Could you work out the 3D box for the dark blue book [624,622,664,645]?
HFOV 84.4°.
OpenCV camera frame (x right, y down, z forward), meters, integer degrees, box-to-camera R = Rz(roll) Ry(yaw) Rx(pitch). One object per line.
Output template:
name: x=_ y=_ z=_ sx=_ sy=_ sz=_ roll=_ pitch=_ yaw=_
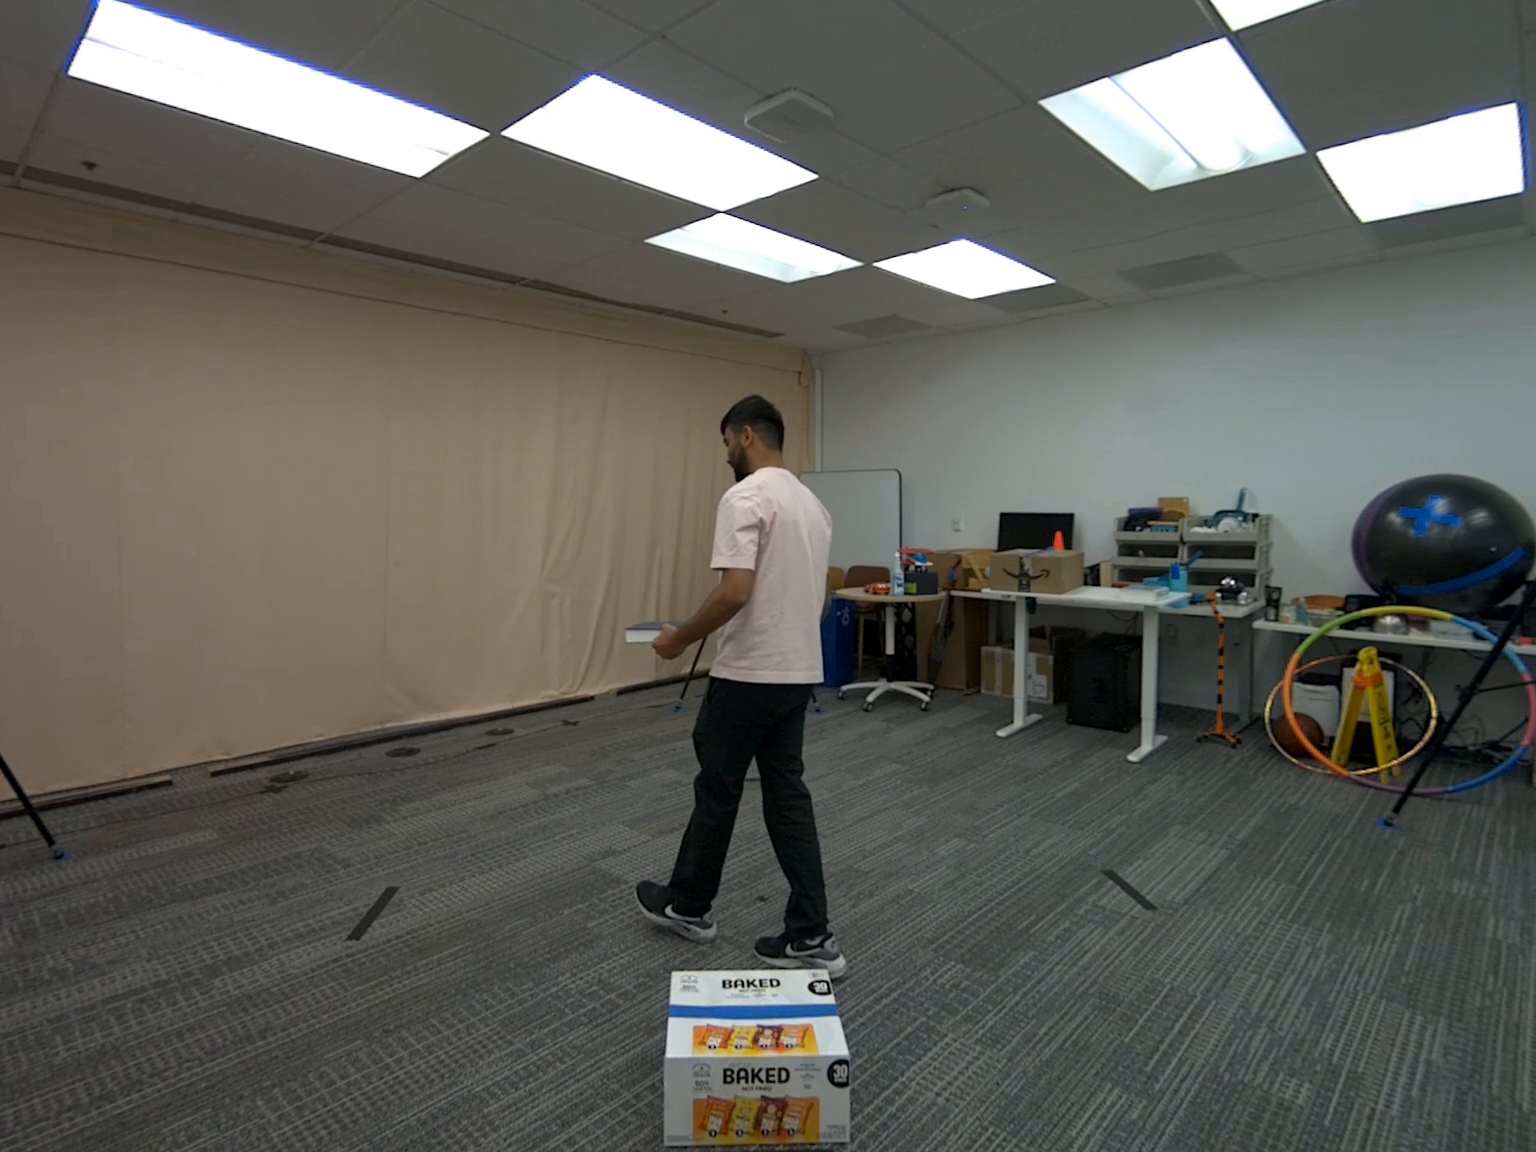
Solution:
dark blue book: x=-0.317 y=0.191 z=2.641 sx=0.165 sy=0.045 sz=0.242 roll=-2 pitch=1 yaw=11
